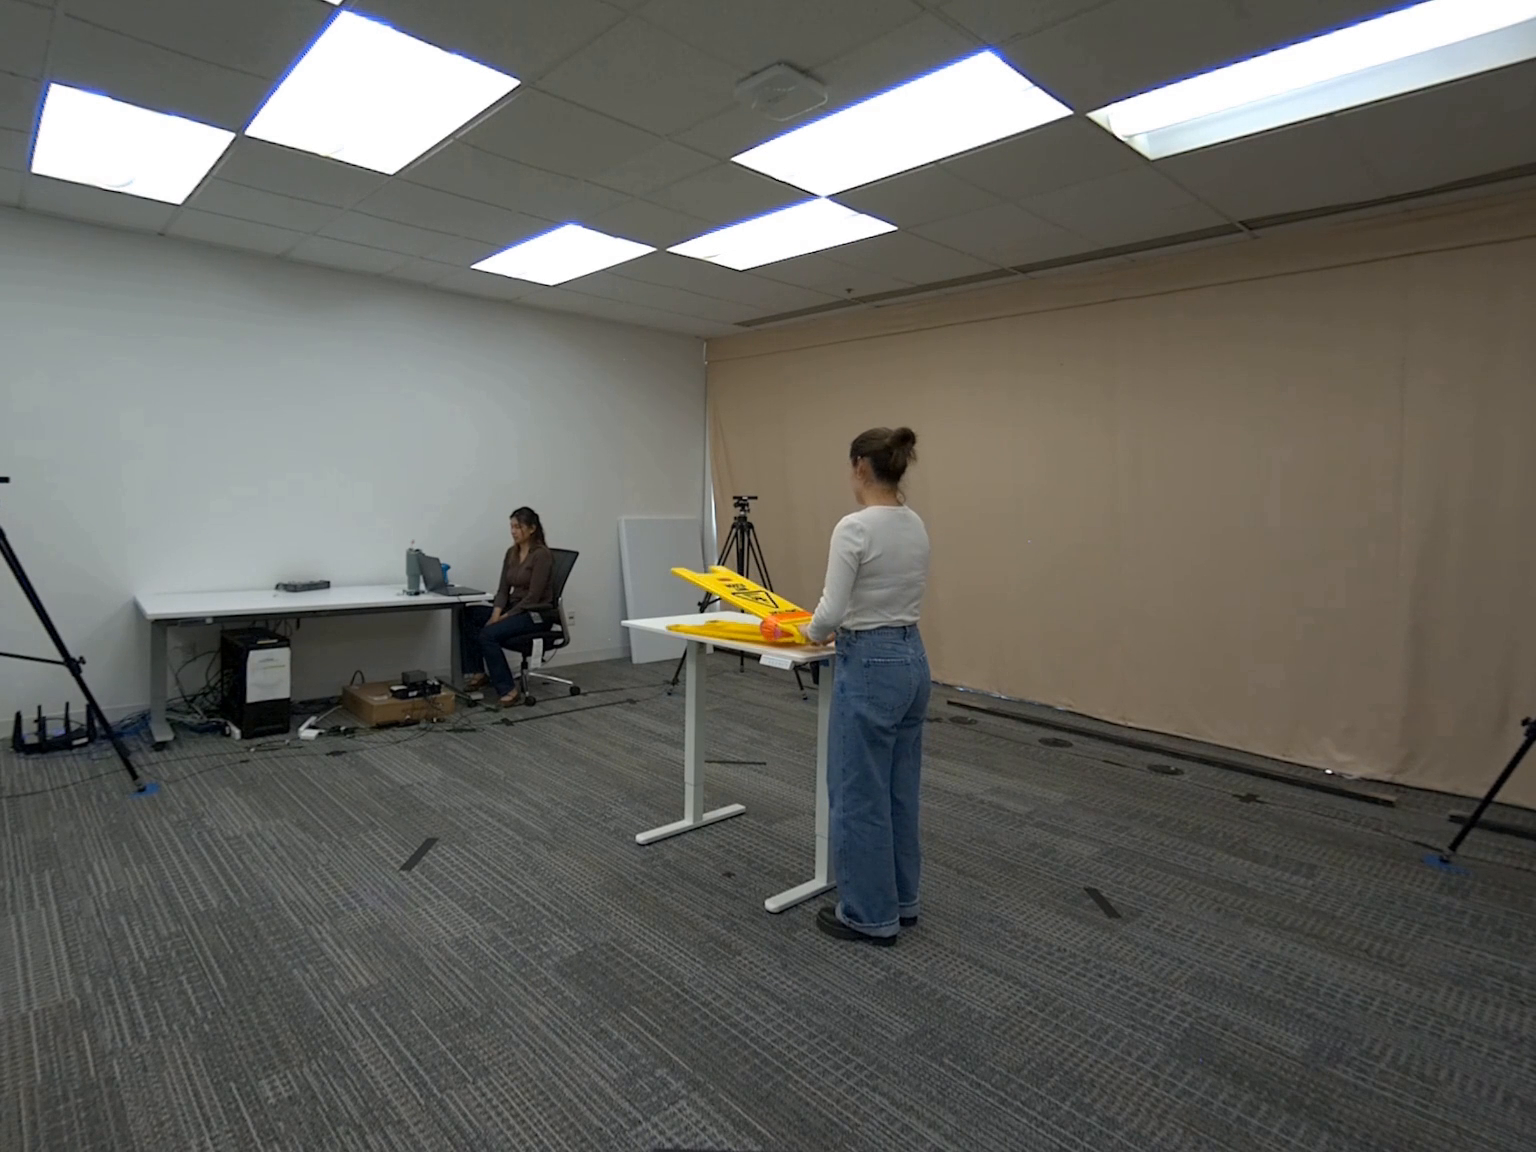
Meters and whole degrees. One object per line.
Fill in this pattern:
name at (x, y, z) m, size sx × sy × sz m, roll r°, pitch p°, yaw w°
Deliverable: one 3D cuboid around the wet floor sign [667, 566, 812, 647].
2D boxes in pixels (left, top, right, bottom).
wet floor sign at (-0.048, 0.154, 3.049) m, size 0.664 × 0.288 × 0.276 m, roll 14°, pitch 11°, yaw 43°
